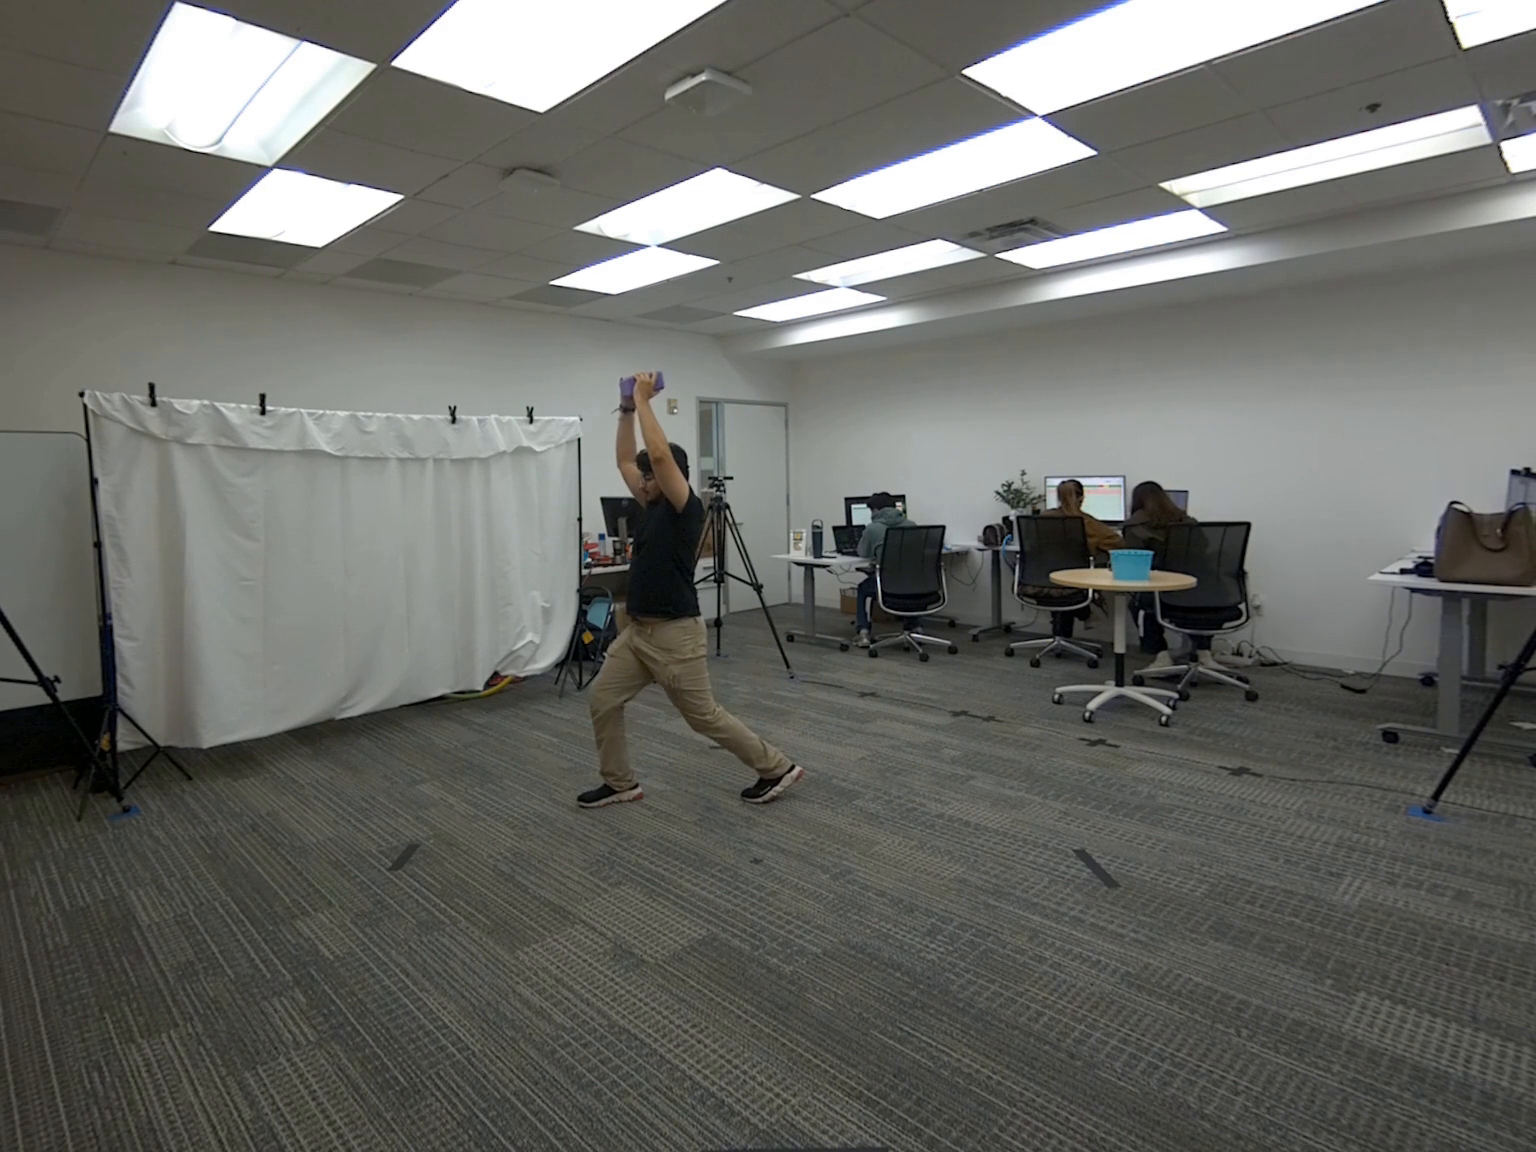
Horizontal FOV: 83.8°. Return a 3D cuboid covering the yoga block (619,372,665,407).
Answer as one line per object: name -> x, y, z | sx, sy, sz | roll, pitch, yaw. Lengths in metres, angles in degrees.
yoga block -> -0.524, -0.811, 3.614 | 0.147, 0.075, 0.234 | -16, 12, -16
